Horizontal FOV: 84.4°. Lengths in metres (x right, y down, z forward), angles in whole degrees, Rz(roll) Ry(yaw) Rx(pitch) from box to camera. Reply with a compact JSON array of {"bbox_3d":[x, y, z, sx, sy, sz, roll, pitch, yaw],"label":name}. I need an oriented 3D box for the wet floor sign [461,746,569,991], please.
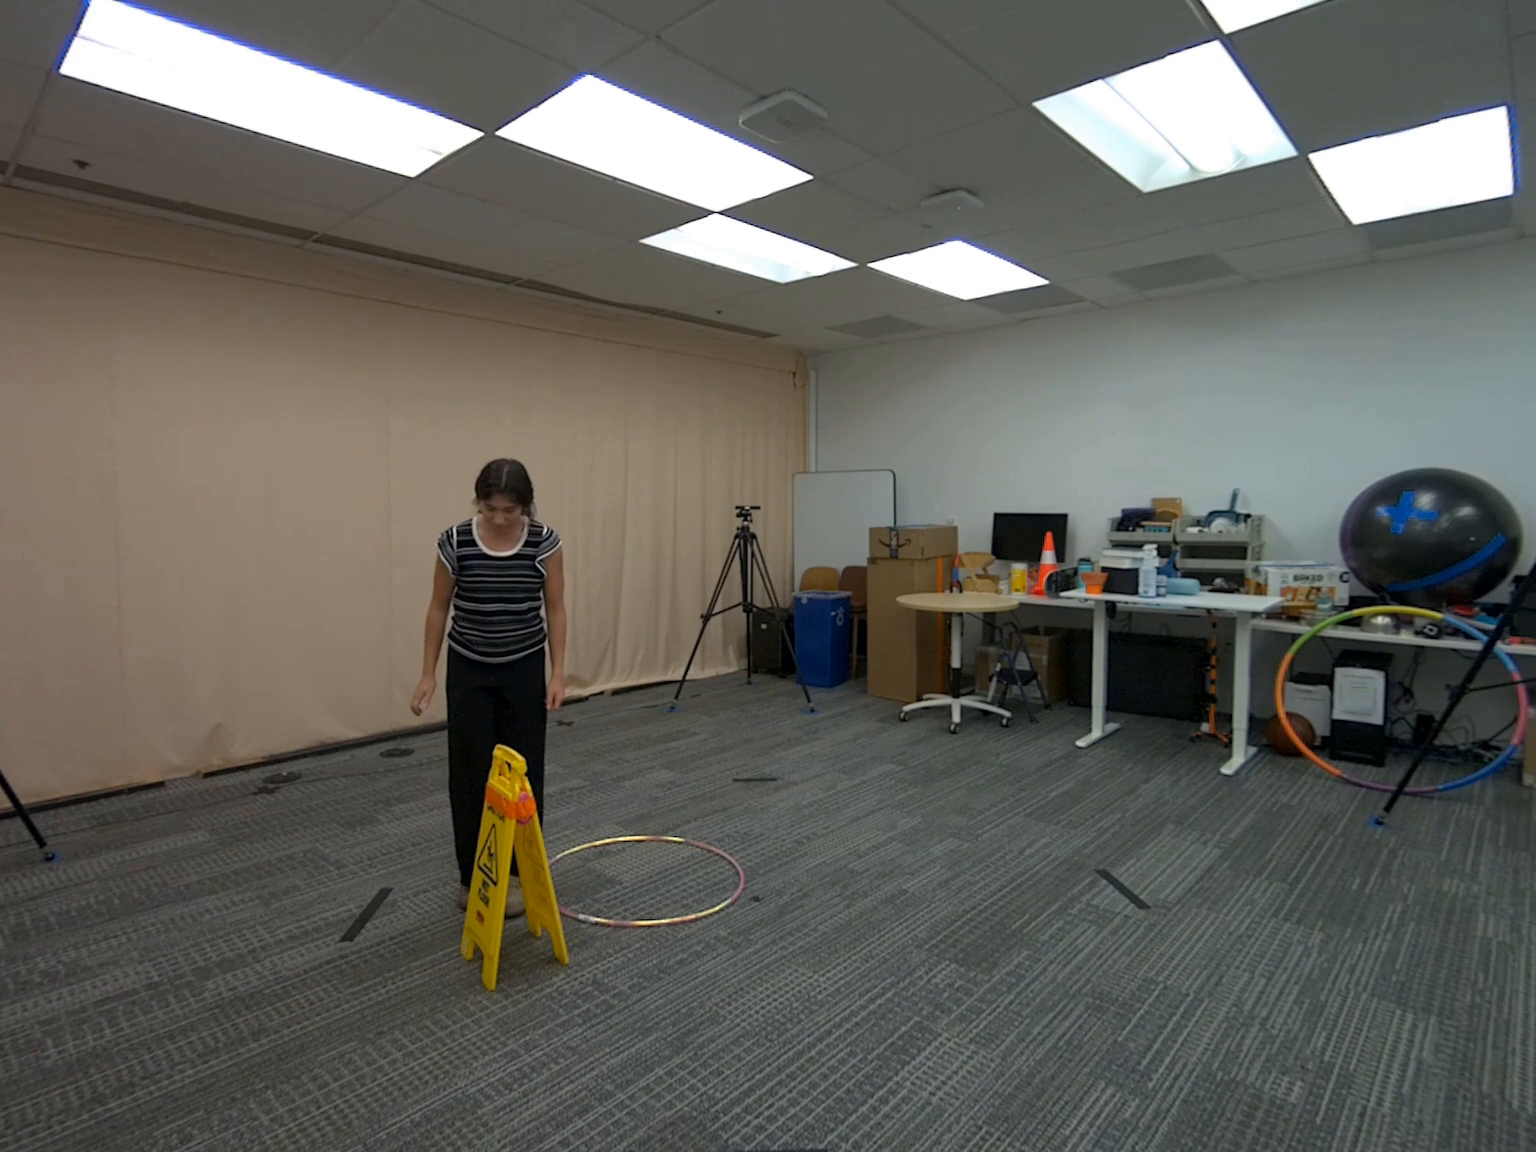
[{"bbox_3d":[-0.788,0.858,2.581,0.281,0.645,0.291,-2,4,-37],"label":"wet floor sign"}]
